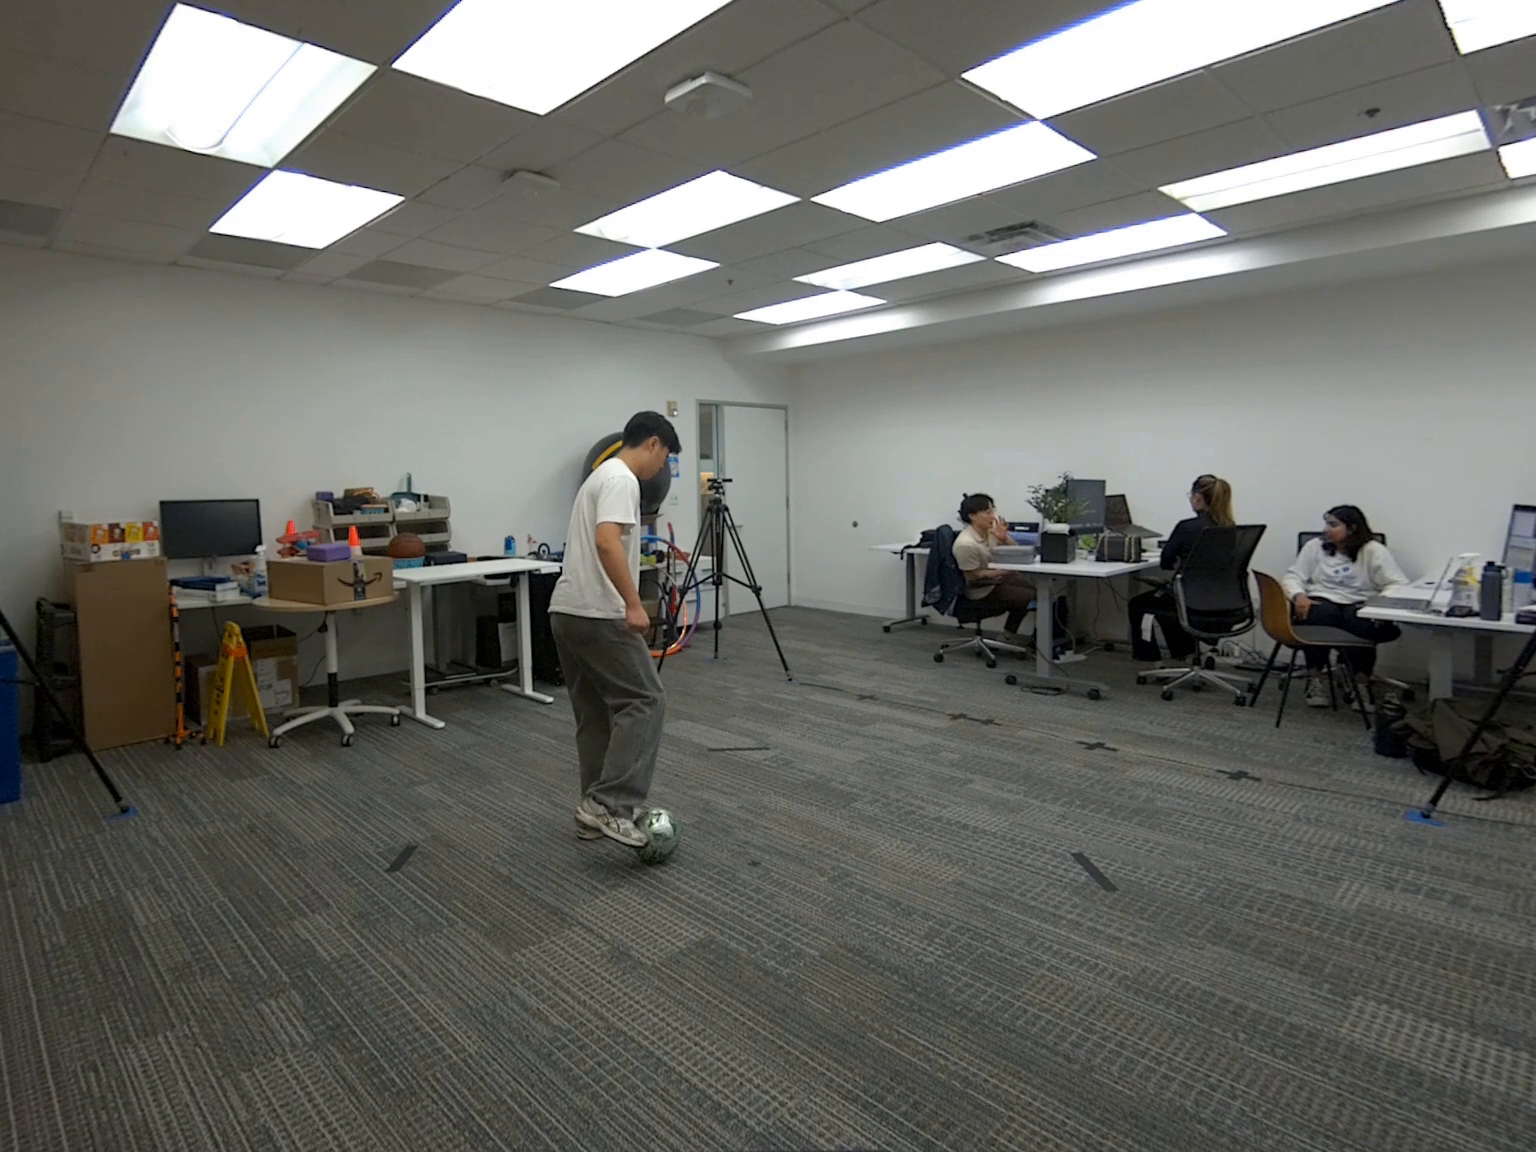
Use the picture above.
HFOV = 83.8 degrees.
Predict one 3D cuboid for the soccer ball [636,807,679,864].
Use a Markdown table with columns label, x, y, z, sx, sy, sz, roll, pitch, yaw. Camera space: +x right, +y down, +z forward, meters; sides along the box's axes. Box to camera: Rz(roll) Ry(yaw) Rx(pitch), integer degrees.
| label | x | y | z | sx | sy | sz | roll | pitch | yaw |
| --- | --- | --- | --- | --- | --- | --- | --- | --- | --- |
| soccer ball | -0.393 | 0.946 | 3.165 | 0.187 | 0.187 | 0.188 | -1 | 5 | -2 |
